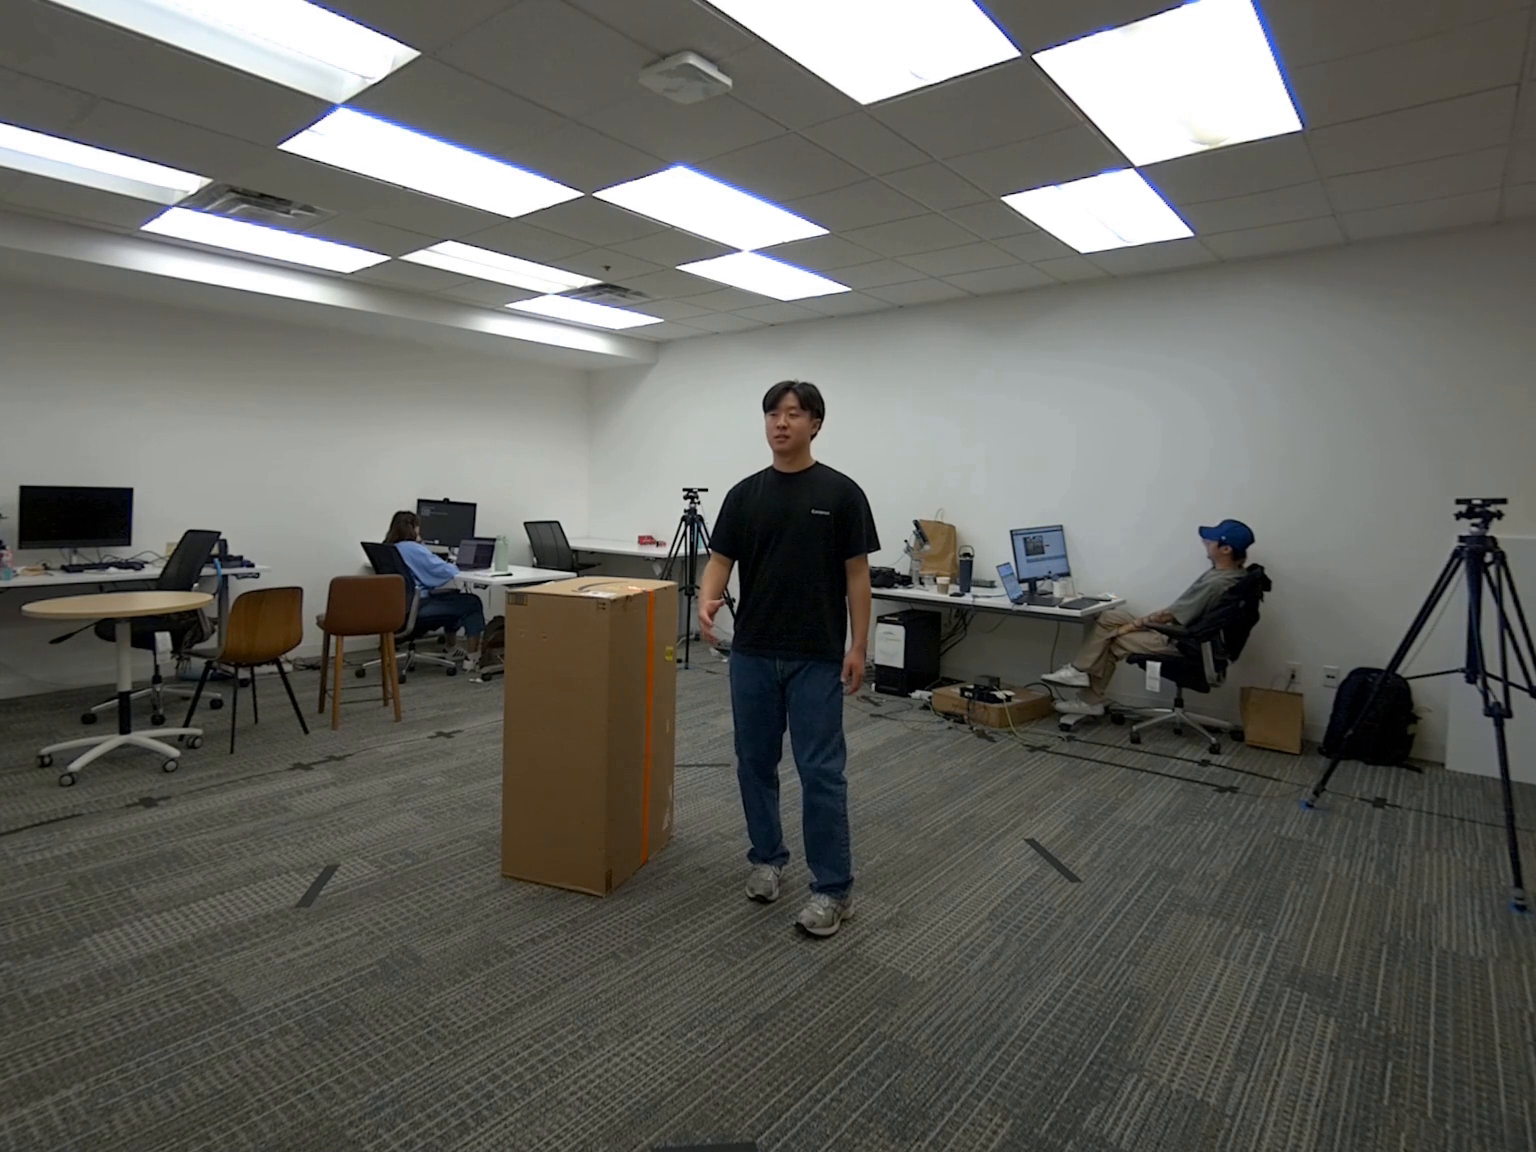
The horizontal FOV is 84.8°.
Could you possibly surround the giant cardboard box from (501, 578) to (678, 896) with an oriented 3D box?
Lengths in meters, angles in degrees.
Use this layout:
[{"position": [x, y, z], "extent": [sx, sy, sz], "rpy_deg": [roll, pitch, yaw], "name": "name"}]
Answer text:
[{"position": [-0.661, 0.541, 3.194], "extent": [0.457, 1.024, 0.572], "rpy_deg": [3, 3, 21], "name": "giant cardboard box"}]
